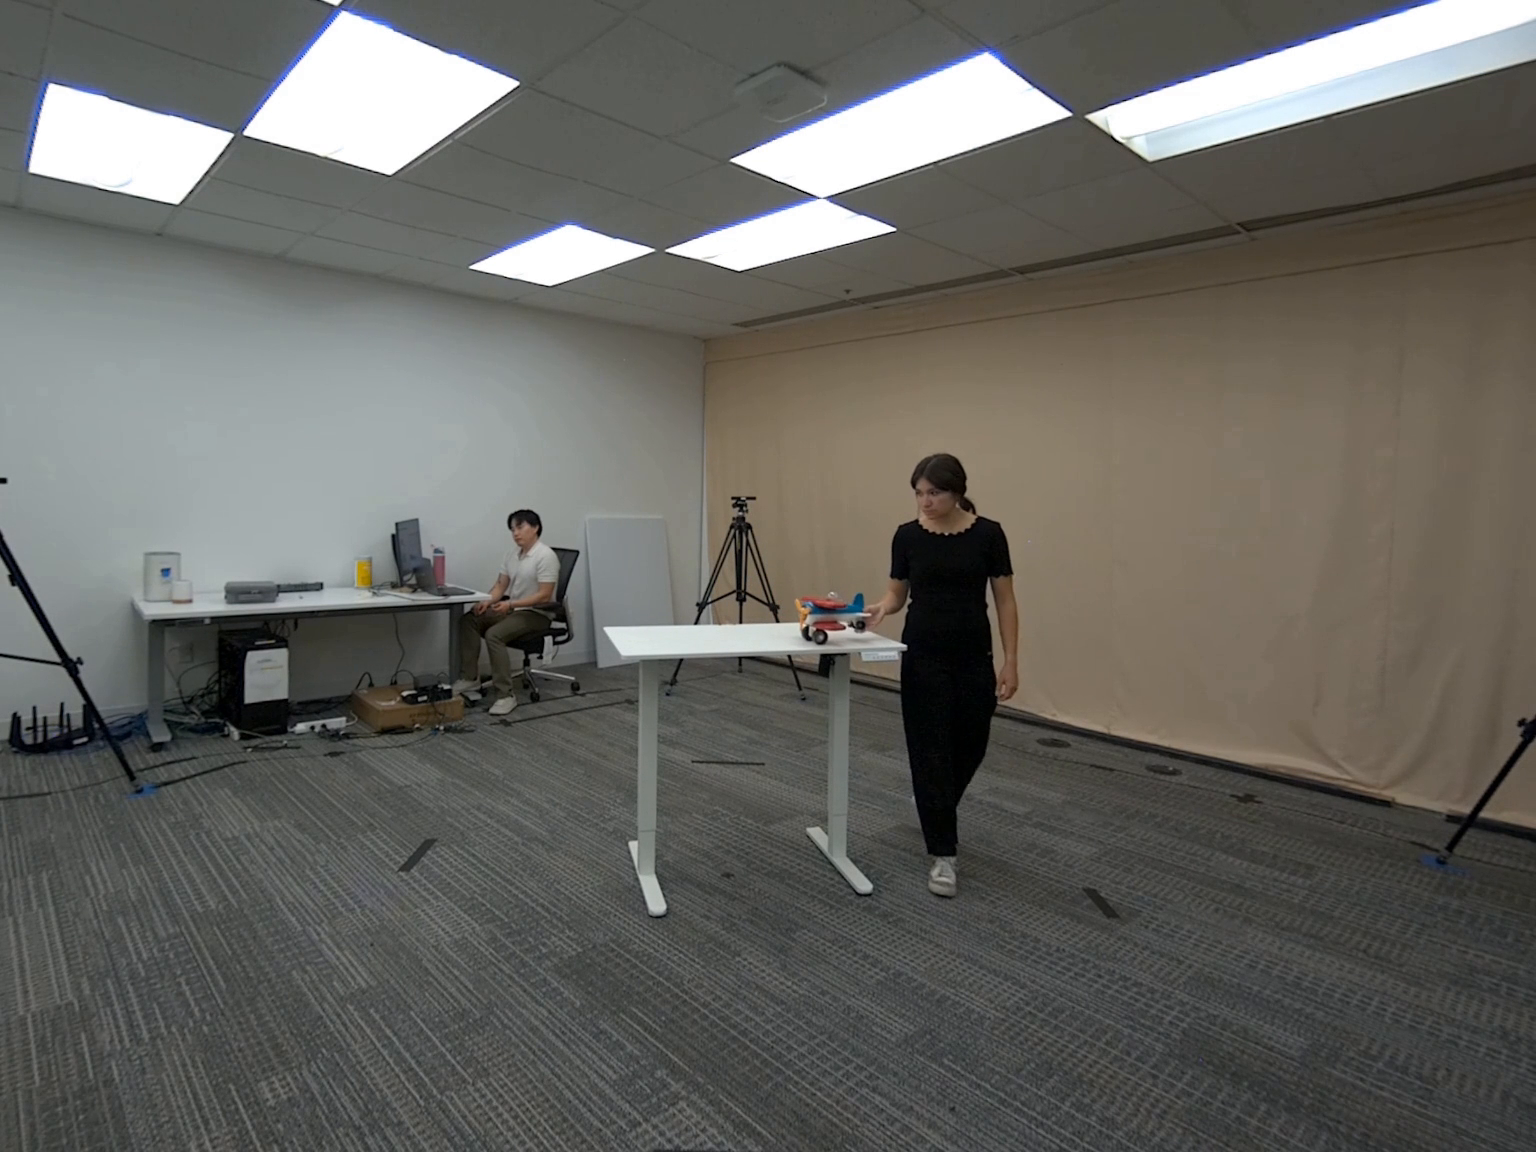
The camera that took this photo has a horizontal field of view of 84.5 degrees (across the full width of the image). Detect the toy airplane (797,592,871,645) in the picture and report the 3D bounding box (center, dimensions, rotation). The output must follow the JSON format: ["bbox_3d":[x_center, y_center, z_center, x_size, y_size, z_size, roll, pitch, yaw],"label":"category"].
[{"bbox_3d":[0.213,0.141,3.032,0.257,0.155,0.255,-2,13,41],"label":"toy airplane"}]
